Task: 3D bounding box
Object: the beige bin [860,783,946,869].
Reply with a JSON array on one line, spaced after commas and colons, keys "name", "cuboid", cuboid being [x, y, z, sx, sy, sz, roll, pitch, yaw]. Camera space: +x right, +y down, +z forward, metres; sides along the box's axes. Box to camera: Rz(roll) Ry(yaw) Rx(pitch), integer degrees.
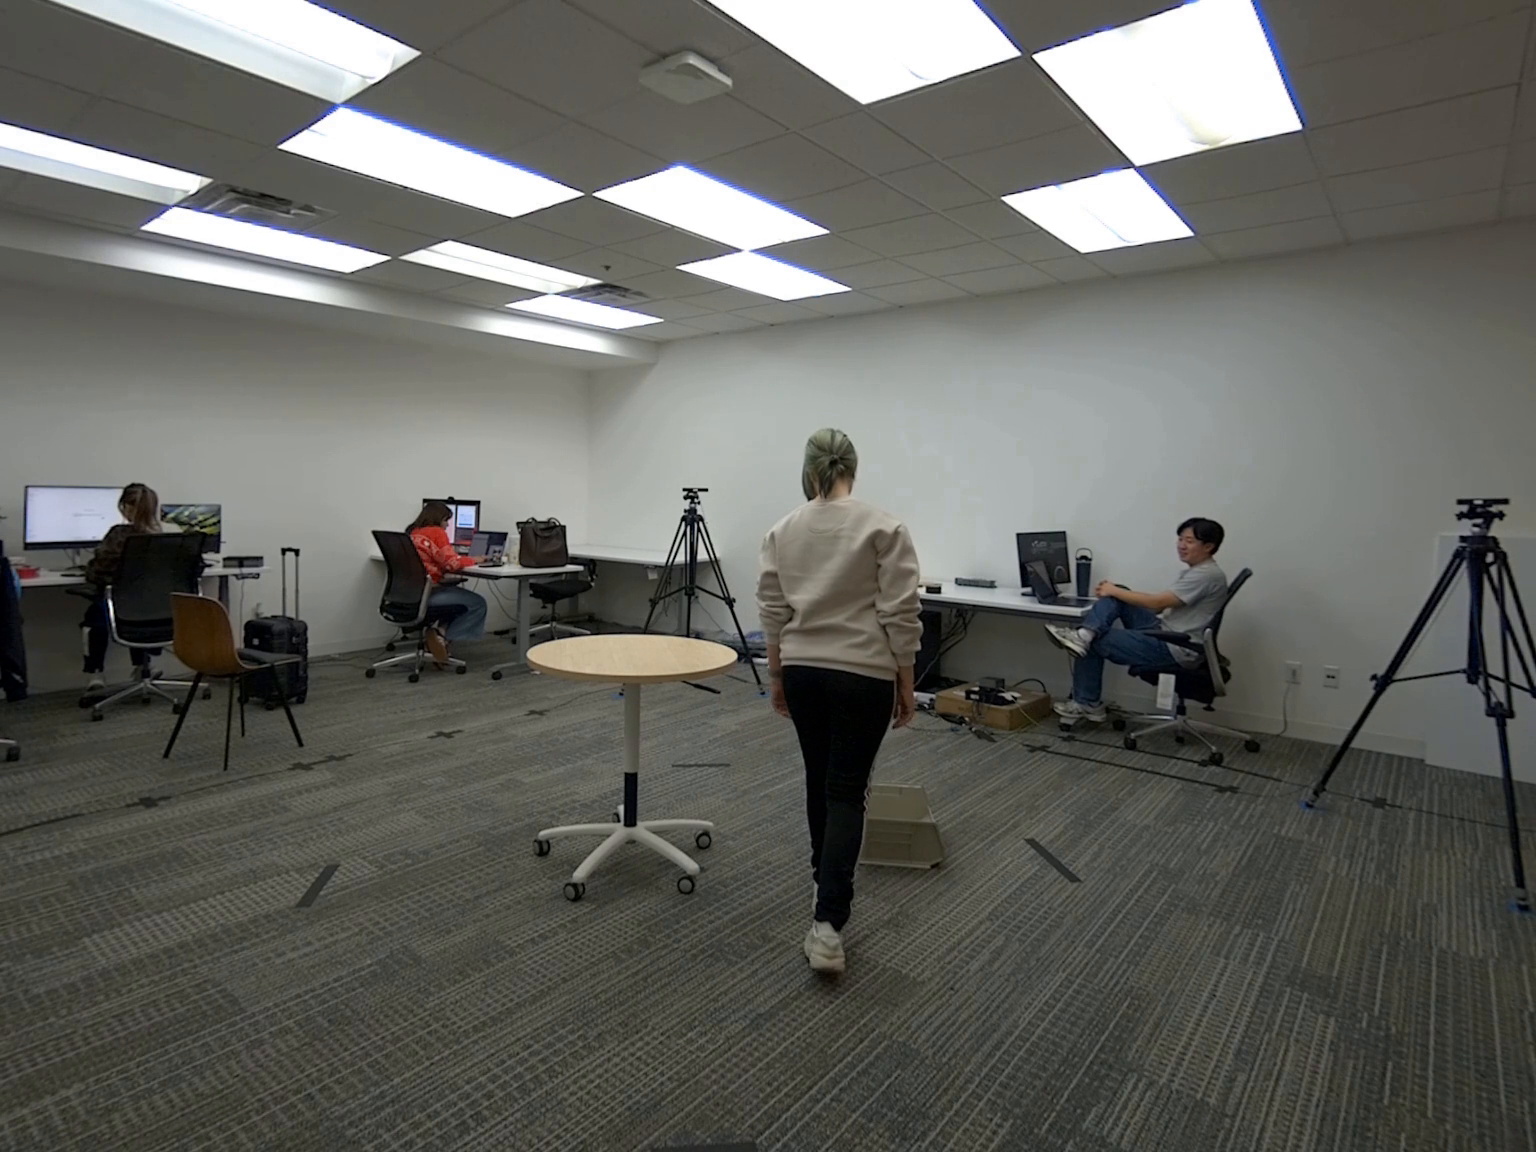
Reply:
[{"name": "beige bin", "cuboid": [0.478, 0.968, 3.372, 0.380, 0.188, 0.421, 0, 5, 5]}]
